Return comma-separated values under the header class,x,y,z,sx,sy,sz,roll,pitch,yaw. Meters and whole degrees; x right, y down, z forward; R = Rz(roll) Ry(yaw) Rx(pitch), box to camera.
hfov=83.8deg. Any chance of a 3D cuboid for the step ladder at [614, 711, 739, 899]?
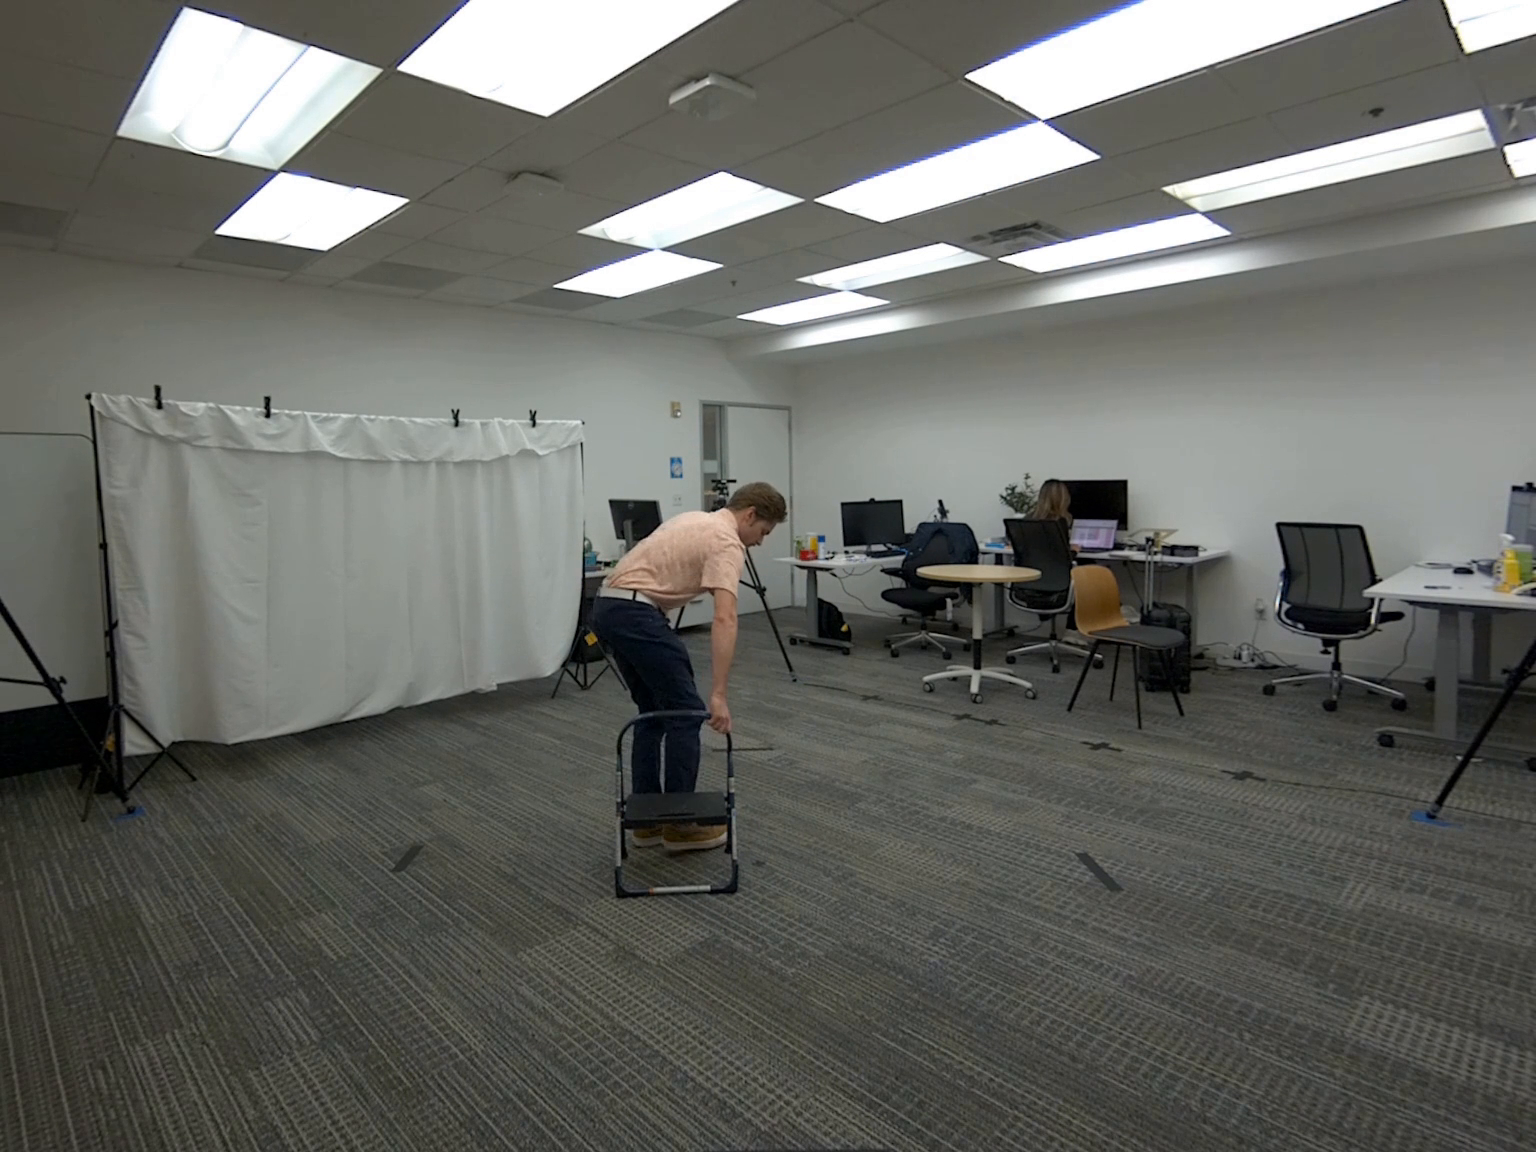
class,x,y,z,sx,sy,sz,roll,pitch,yaw
step ladder,-0.331,0.763,3.027,0.429,0.604,0.352,-2,3,-5
